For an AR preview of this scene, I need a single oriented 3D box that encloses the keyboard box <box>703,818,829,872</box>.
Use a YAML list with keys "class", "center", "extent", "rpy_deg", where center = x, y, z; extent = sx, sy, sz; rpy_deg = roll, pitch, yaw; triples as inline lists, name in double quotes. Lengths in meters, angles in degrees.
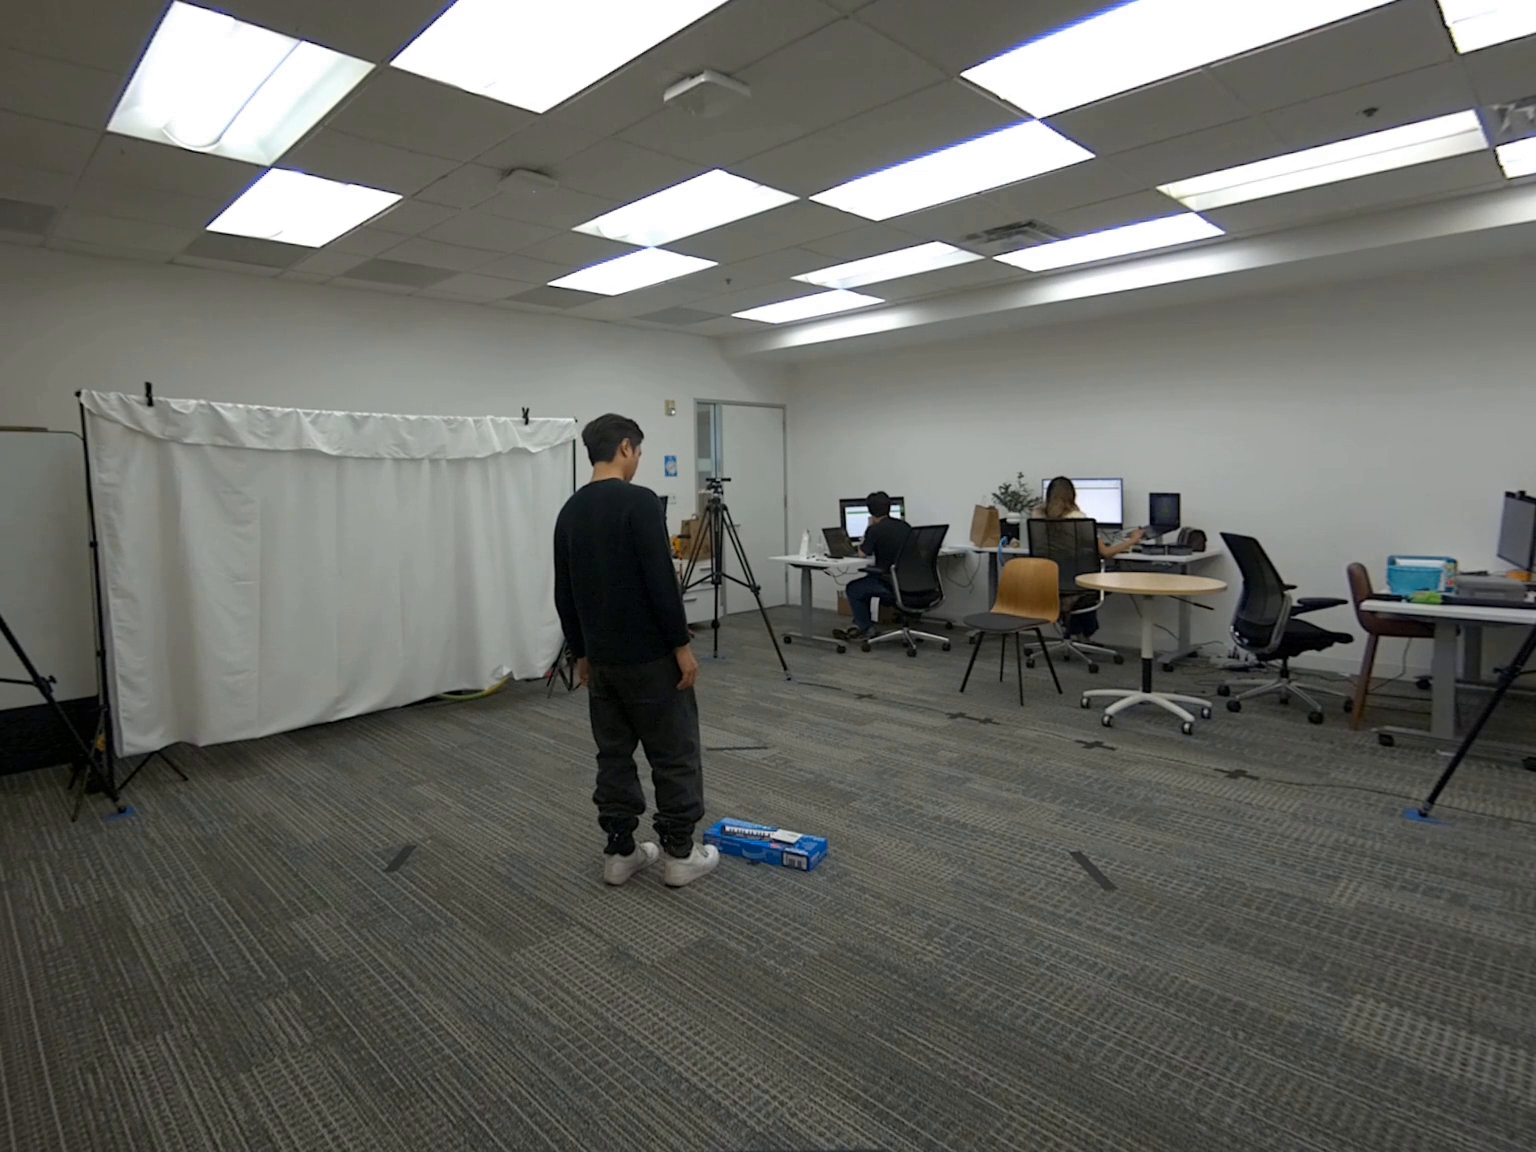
- class: "keyboard box"
  center: [-0.009, 1.001, 3.202]
  extent: [0.448, 0.059, 0.172]
  rpy_deg: [3, 7, 28]
